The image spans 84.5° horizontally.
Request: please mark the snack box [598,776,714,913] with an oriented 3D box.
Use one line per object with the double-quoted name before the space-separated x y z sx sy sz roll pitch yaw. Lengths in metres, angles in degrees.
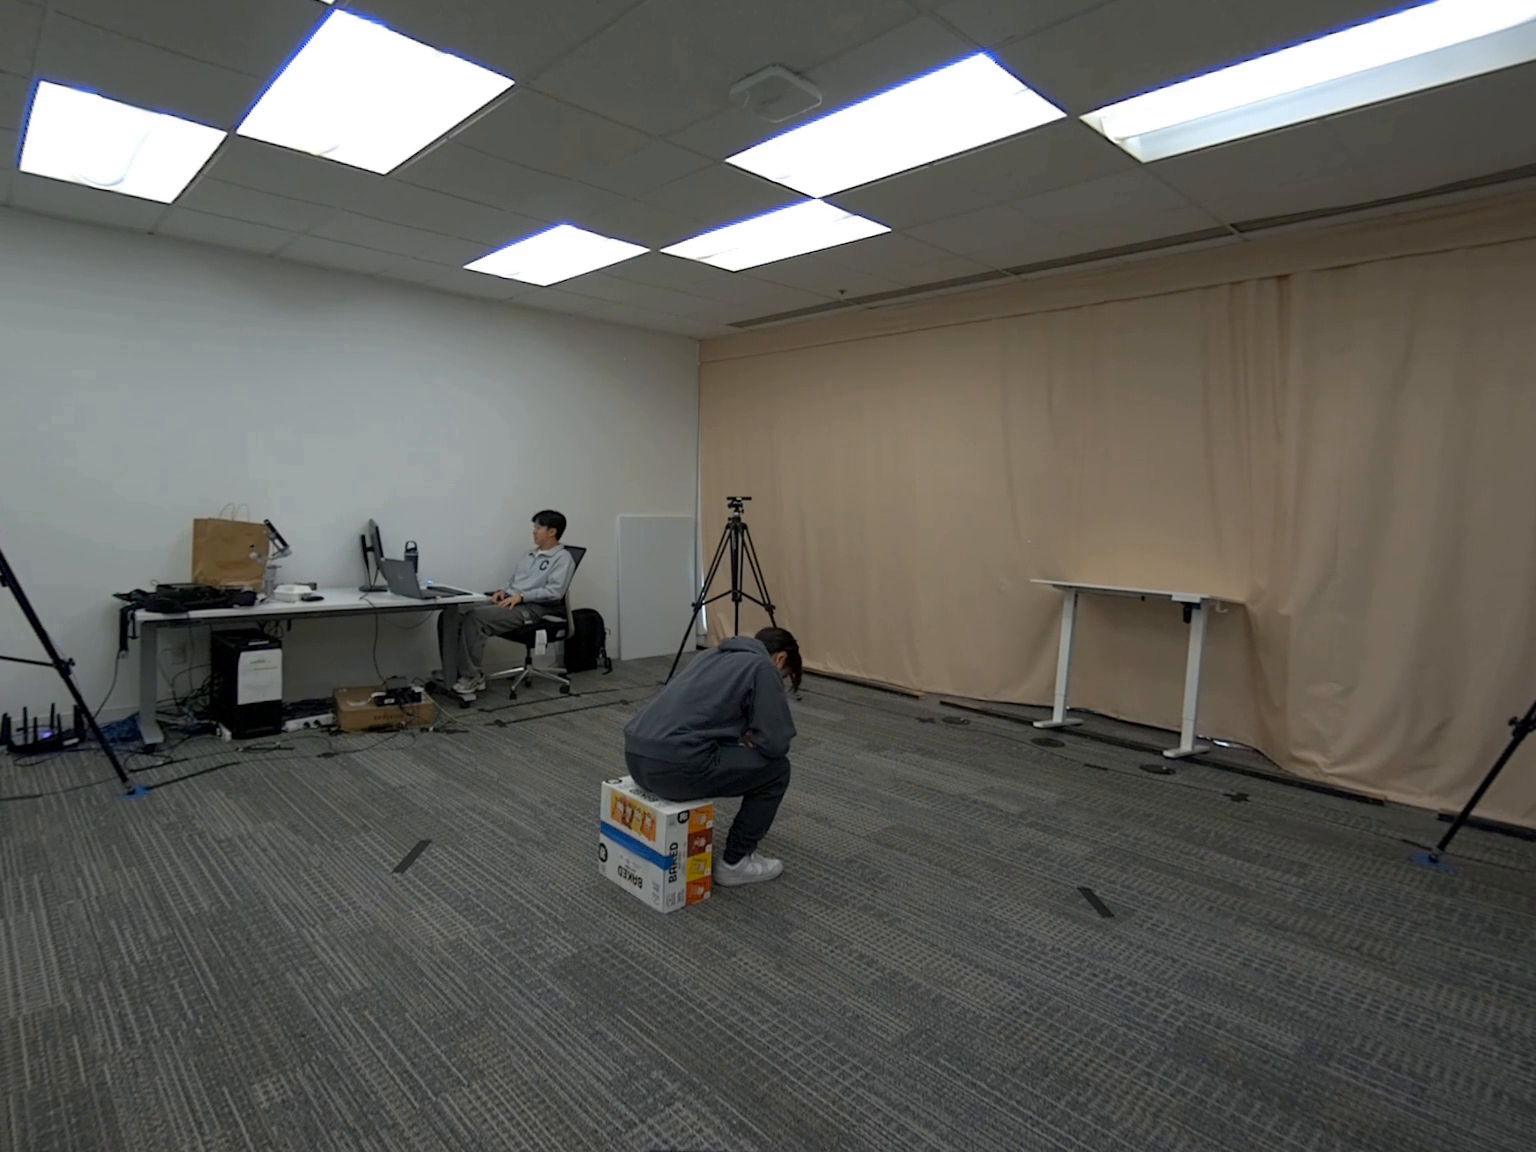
"snack box" -0.413 0.939 3.007 0.201 0.339 0.415 0 4 -43
